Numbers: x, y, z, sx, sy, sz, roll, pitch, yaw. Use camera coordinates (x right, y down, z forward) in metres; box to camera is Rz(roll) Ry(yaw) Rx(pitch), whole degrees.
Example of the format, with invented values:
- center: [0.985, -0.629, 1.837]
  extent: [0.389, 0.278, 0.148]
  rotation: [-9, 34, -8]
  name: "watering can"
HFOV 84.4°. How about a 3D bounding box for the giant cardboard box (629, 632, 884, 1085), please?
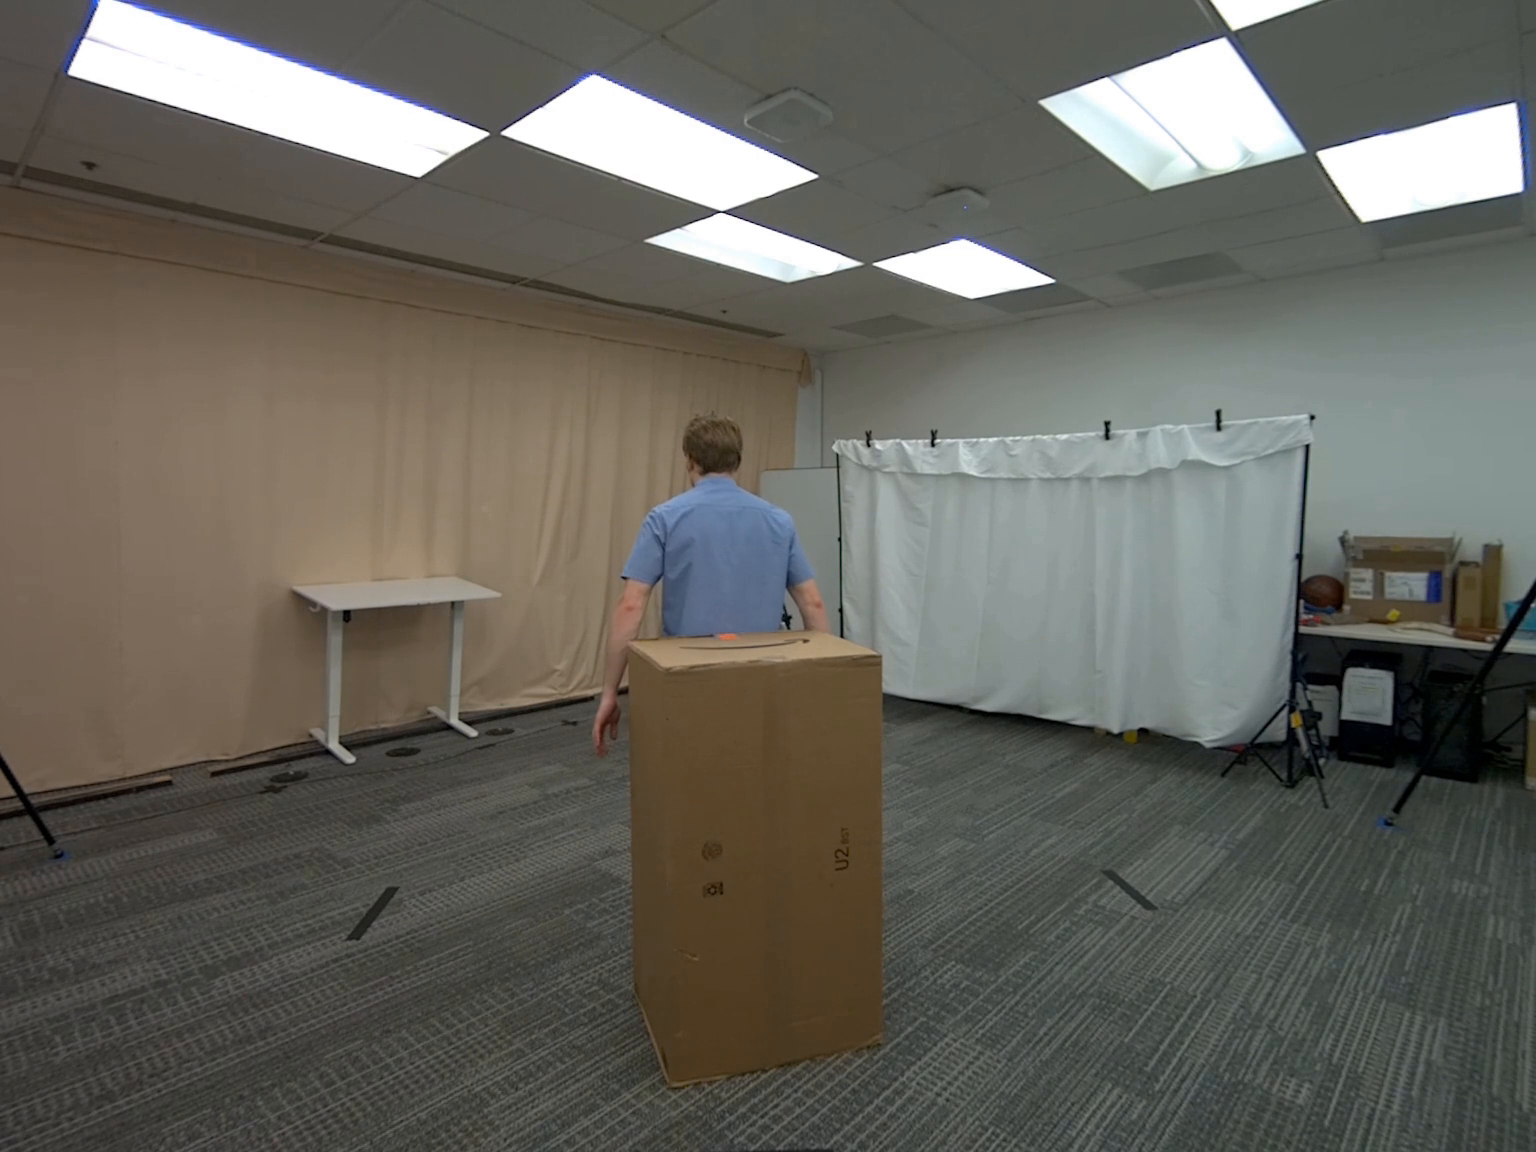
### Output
- center: [-0.043, 0.700, 2.260]
  extent: [0.573, 1.024, 0.457]
  rotation: [-2, 4, -19]
  name: "giant cardboard box"
